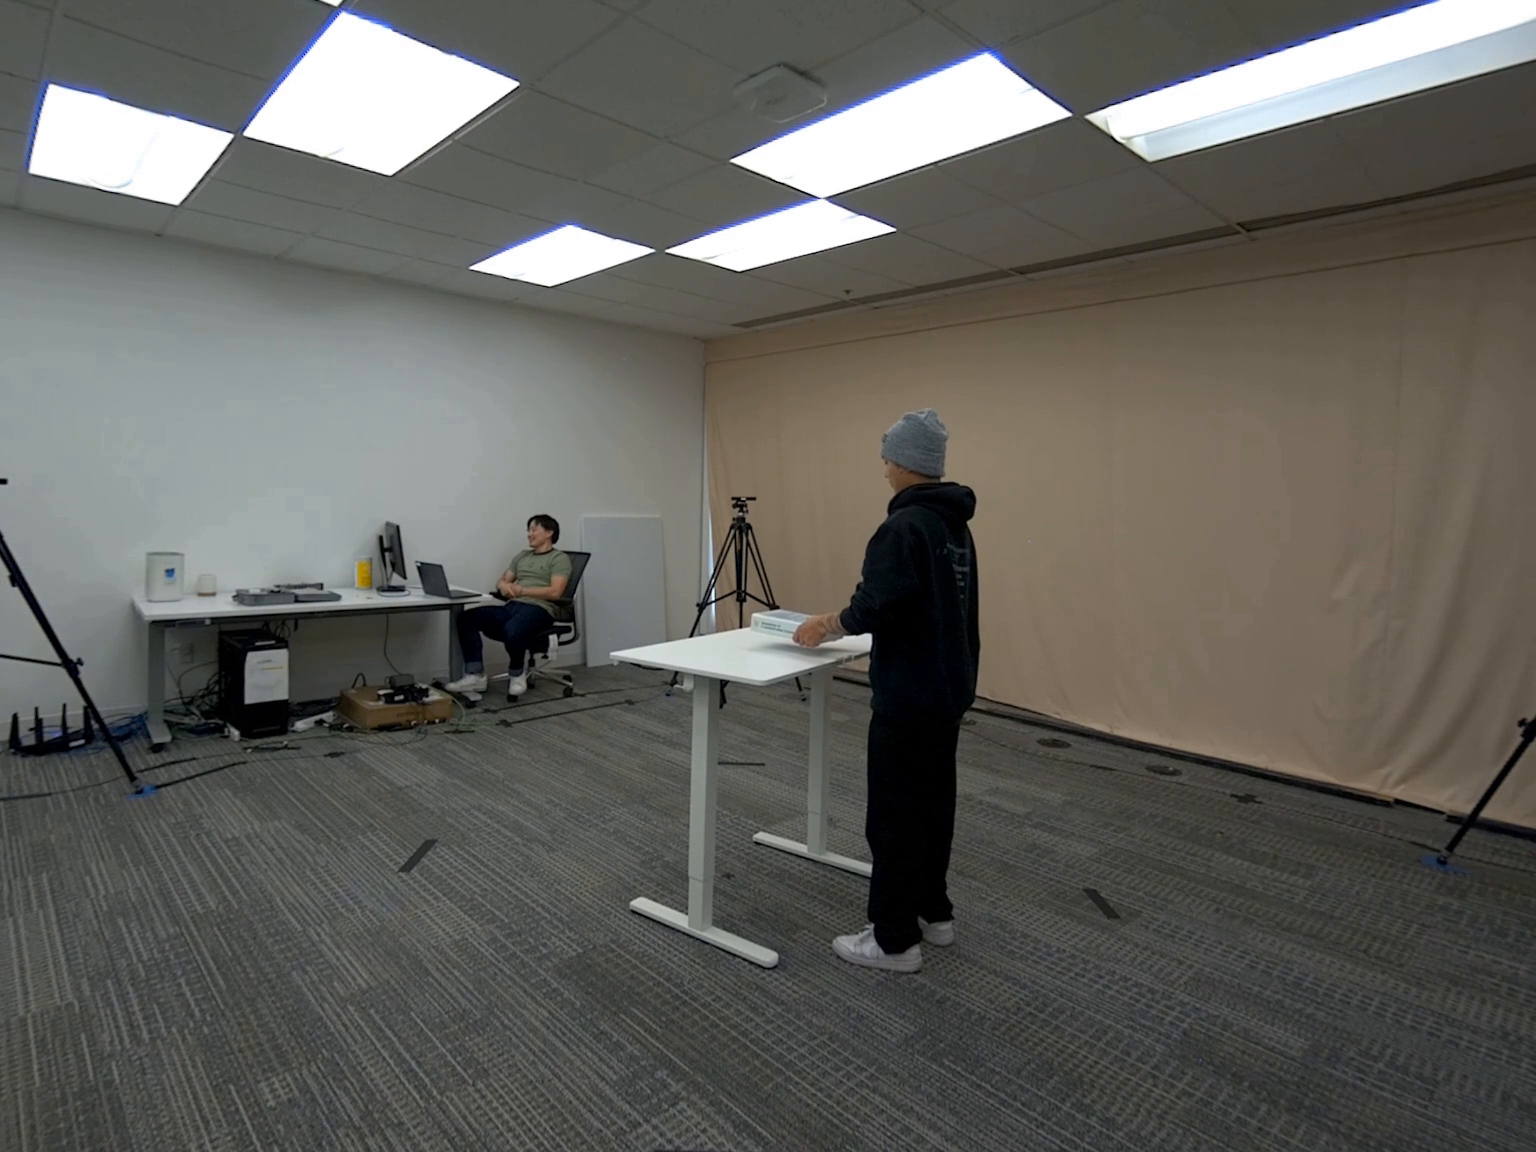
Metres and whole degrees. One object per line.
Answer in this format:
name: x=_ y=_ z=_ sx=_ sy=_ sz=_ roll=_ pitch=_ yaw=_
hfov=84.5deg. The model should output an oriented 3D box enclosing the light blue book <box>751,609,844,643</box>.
light blue book: x=0.095 y=0.174 z=2.893 sx=0.267 sy=0.059 sz=0.188 roll=10 pitch=9 yaw=28
